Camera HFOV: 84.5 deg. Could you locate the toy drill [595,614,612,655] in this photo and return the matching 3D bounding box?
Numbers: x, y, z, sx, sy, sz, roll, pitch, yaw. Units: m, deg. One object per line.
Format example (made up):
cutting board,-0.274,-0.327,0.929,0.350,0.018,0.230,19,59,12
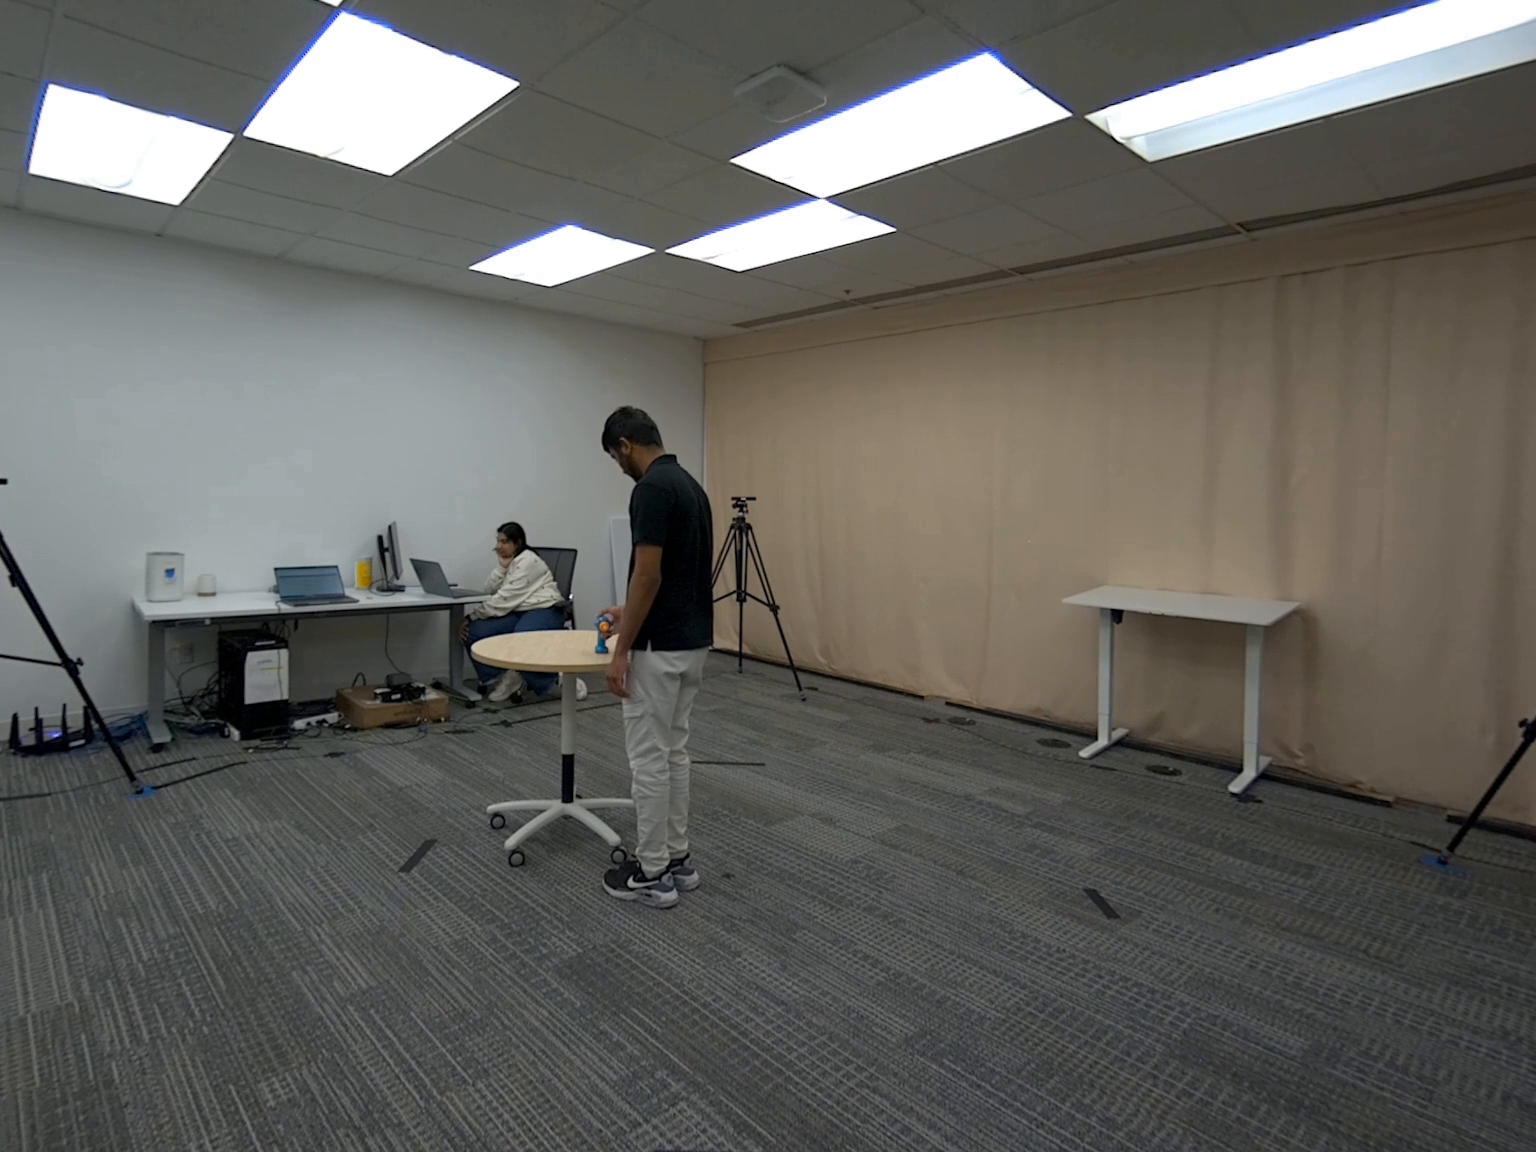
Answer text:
toy drill,-0.642,0.229,3.241,0.060,0.145,0.172,2,5,-14
